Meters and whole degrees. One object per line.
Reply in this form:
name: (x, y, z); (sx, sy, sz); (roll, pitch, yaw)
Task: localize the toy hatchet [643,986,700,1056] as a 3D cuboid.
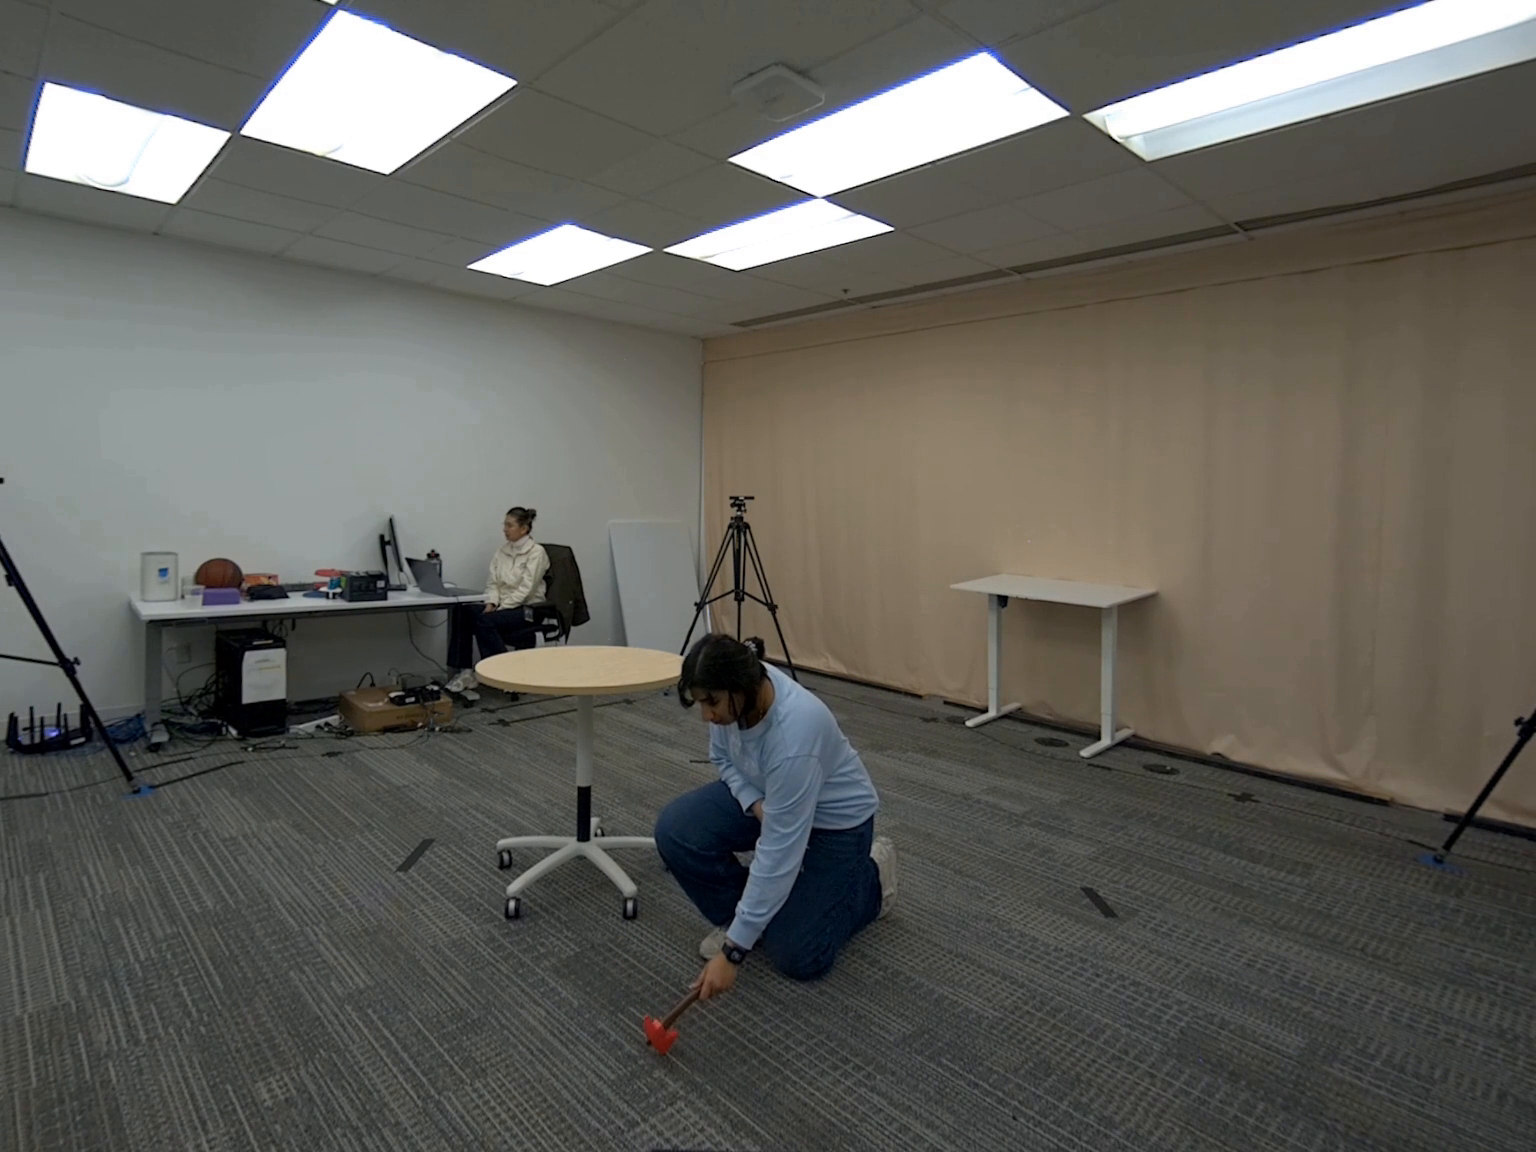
toy hatchet: (-0.213, 1.112, 2.131); (0.265, 0.130, 0.030); (-12, 11, -36)
